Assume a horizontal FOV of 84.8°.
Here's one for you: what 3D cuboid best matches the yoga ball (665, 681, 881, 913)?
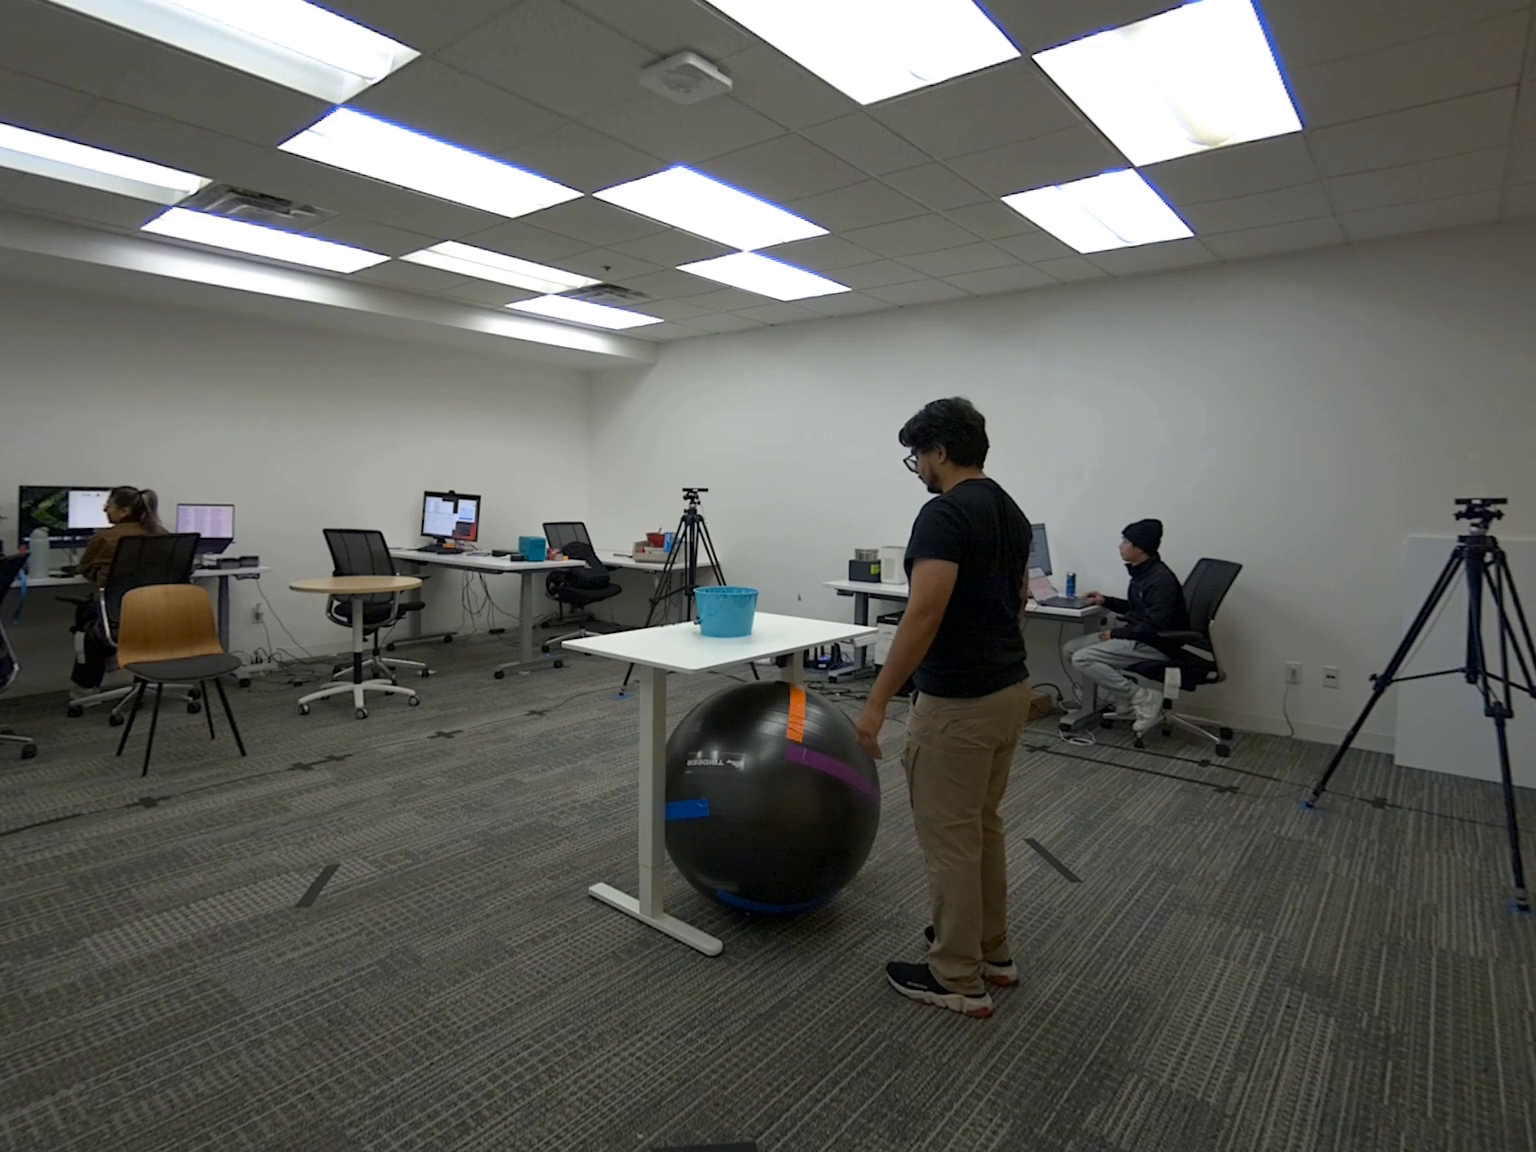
[{"bbox_3d":[-0.003,0.743,2.851,0.757,0.755,0.762,1,4,-2],"label":"yoga ball"}]
